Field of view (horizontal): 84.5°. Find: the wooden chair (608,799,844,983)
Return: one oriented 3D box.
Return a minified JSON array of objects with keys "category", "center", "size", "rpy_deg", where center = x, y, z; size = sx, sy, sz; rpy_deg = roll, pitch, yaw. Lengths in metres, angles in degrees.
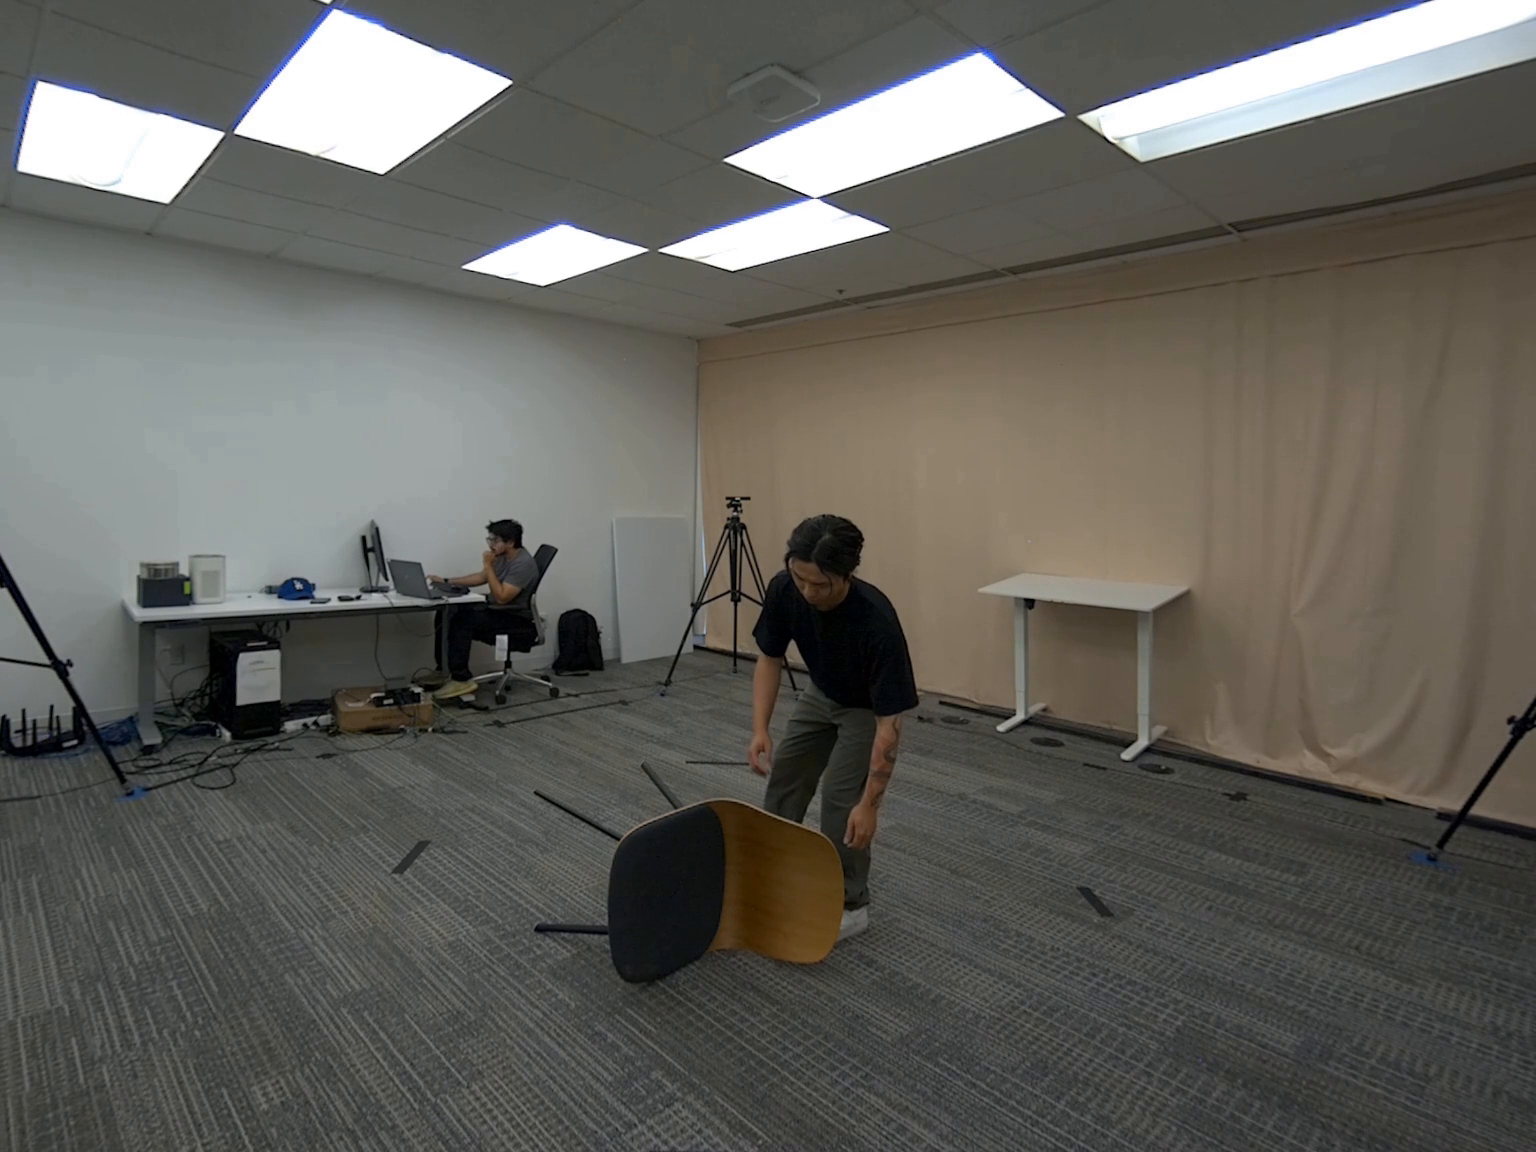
[{"category":"wooden chair","center":[-0.280,0.925,2.530],"size":[0.899,0.477,0.511],"rpy_deg":[5,5,39]}]
